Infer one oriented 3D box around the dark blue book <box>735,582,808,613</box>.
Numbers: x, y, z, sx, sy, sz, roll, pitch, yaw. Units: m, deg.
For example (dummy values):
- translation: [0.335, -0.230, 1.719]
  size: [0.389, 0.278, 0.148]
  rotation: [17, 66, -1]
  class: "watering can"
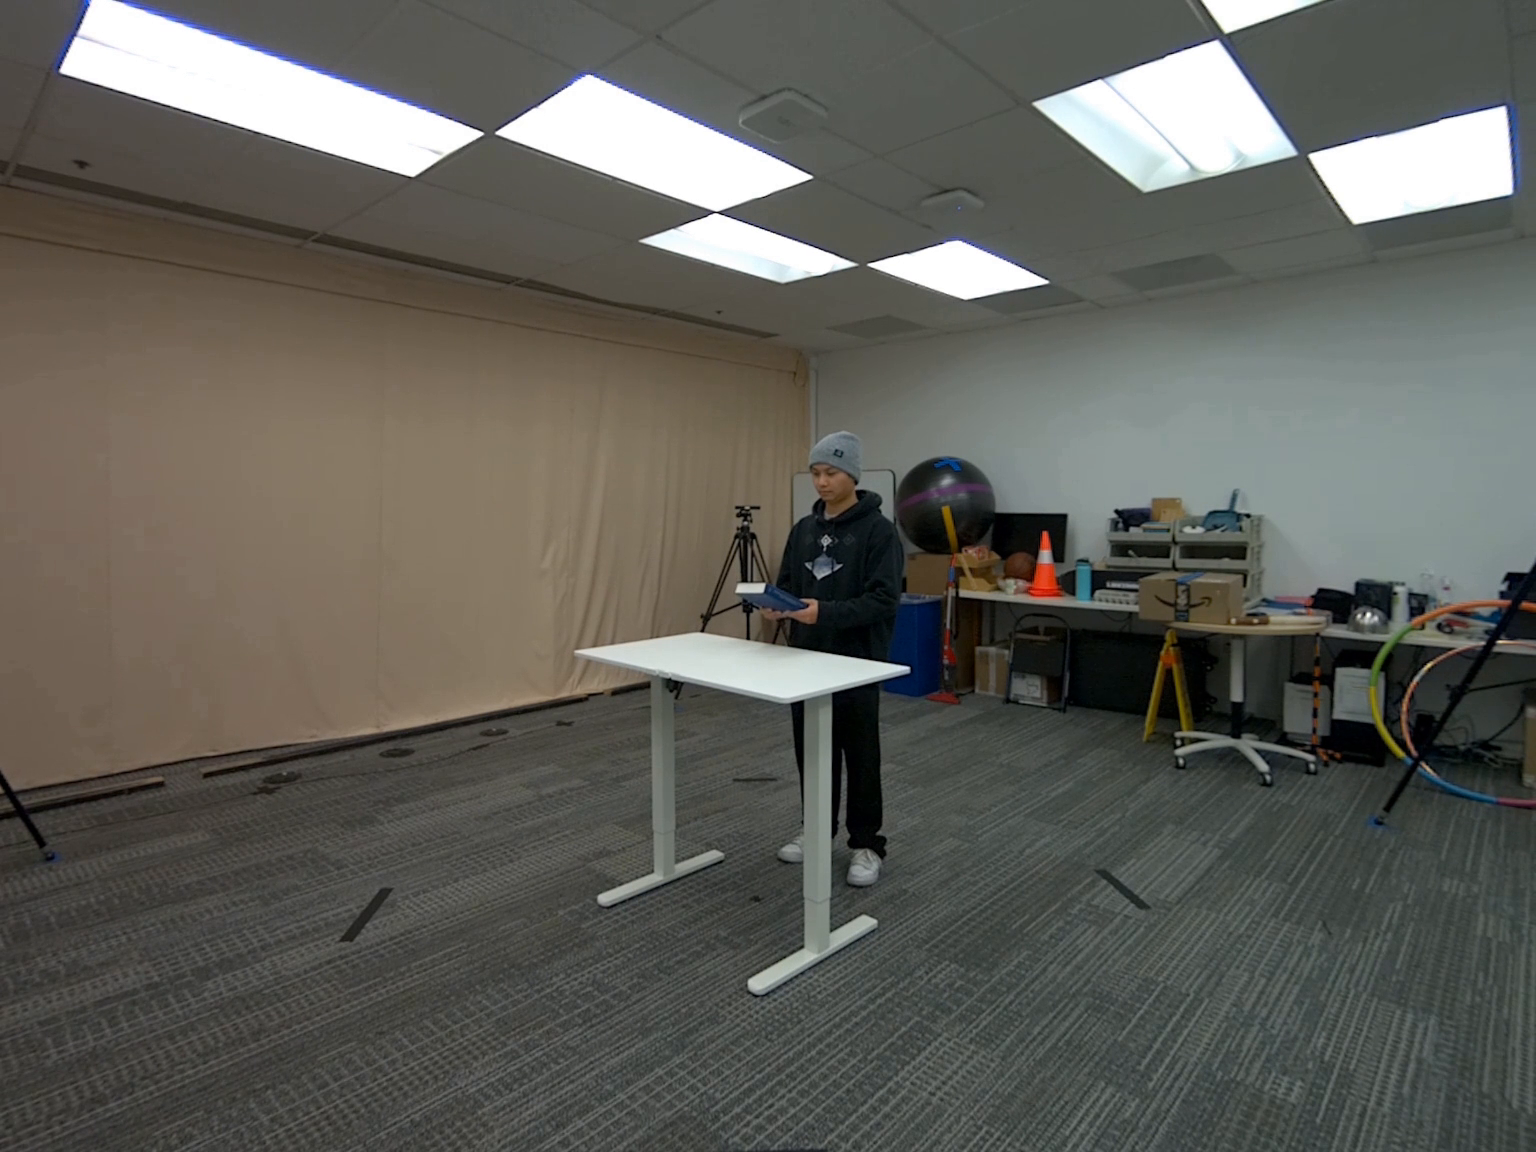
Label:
- translation: [0.017, 0.081, 3.000]
  size: [0.236, 0.045, 0.168]
  rotation: [25, -16, -37]
  class: "dark blue book"
